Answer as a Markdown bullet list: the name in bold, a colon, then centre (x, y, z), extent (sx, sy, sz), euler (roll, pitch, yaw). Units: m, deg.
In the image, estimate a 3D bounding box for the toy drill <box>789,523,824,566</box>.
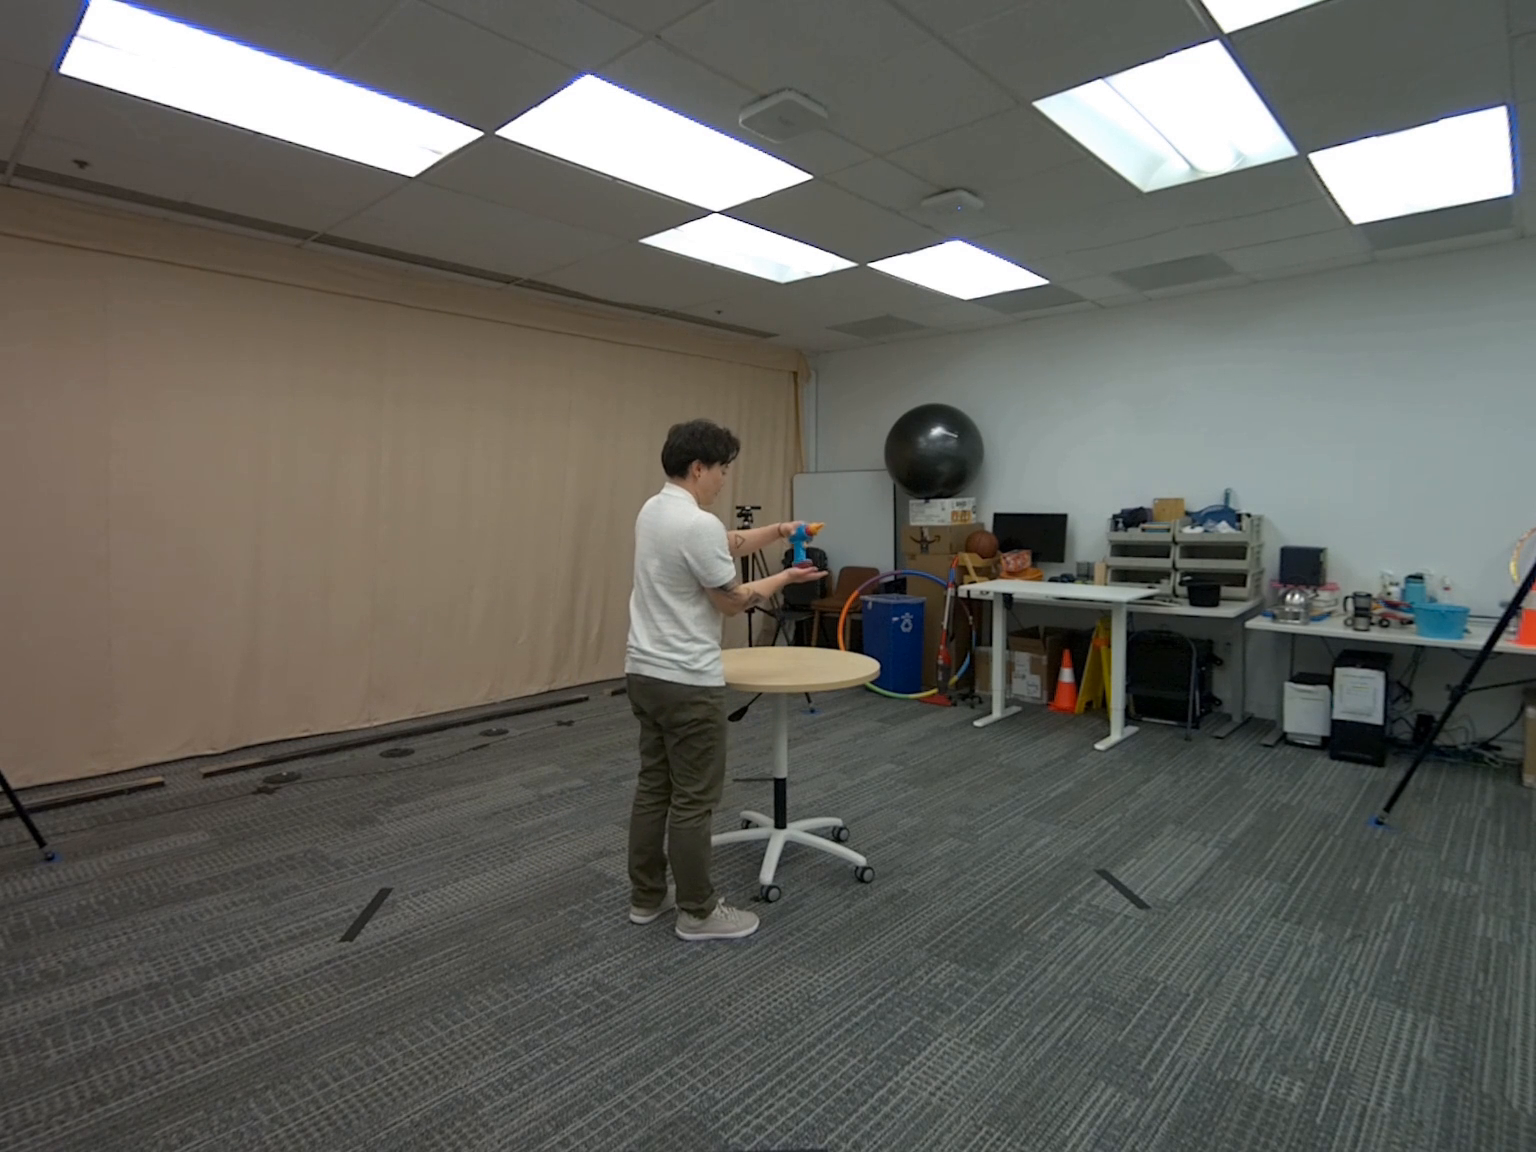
- **toy drill**: centre (0.143, -0.106, 2.872), extent (0.174, 0.147, 0.059), euler (-21, -16, 38)
